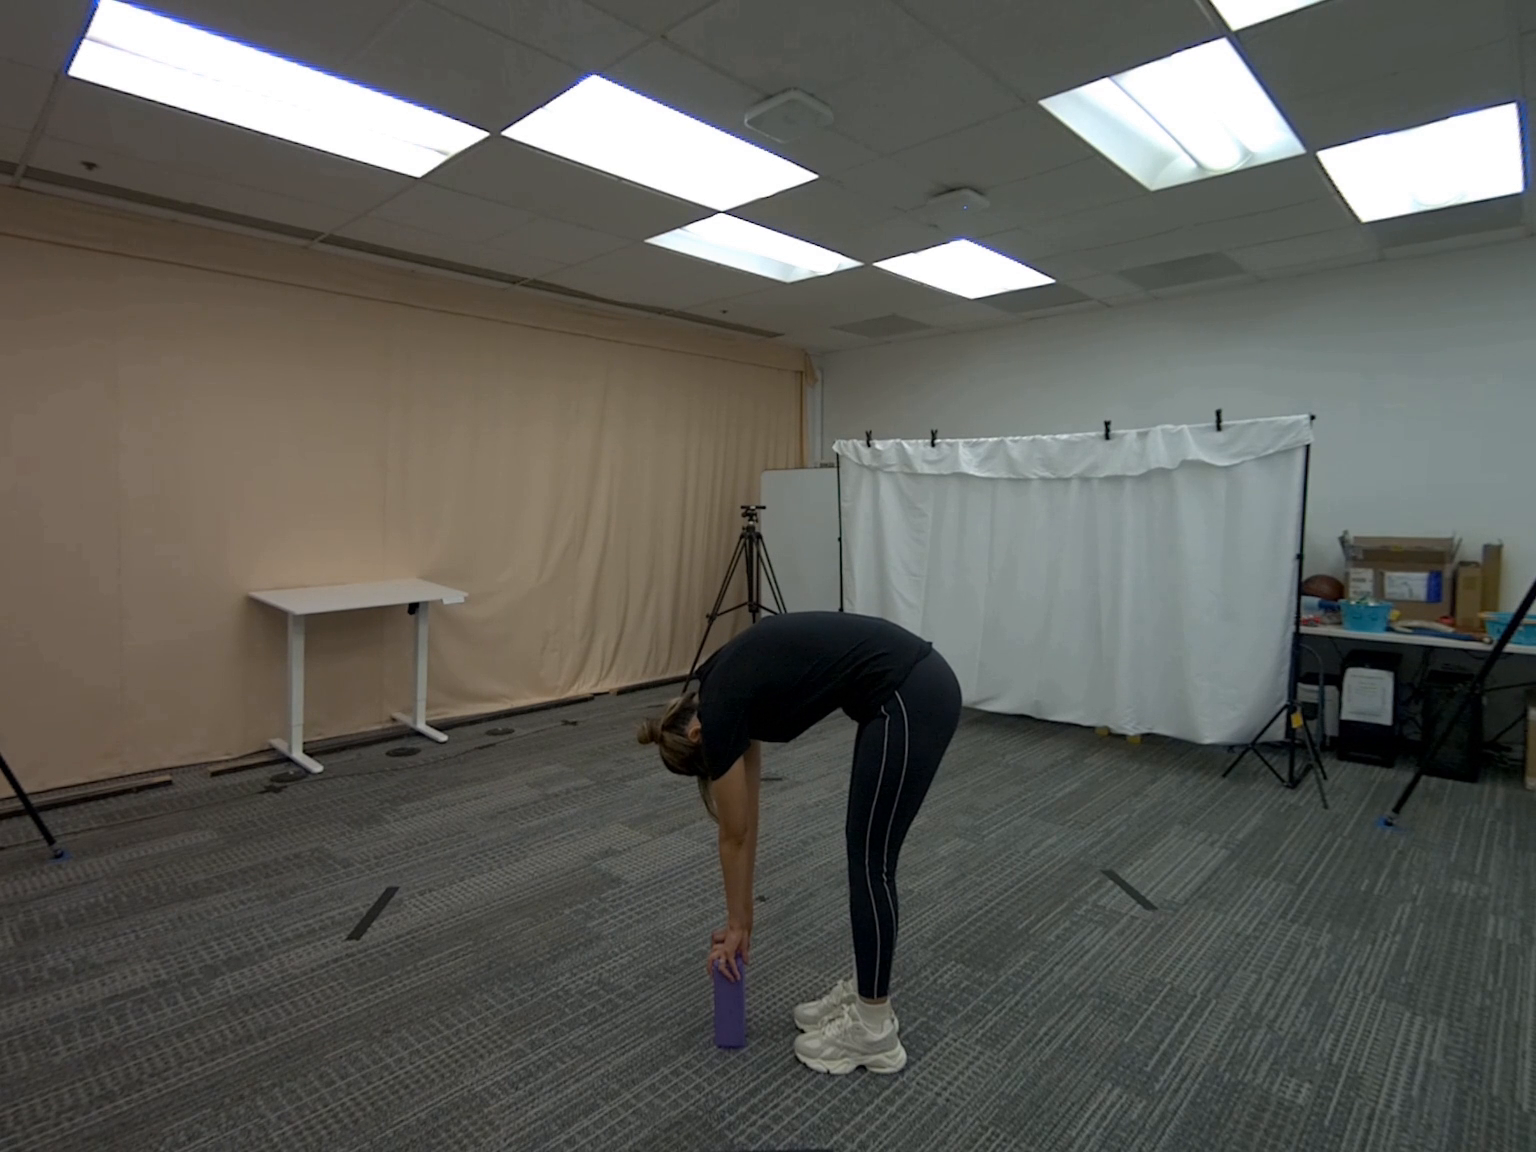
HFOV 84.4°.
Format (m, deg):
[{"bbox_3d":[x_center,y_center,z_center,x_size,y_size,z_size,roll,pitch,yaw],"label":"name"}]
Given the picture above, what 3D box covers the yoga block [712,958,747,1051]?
[{"bbox_3d":[-0.100,1.102,2.224,0.076,0.229,0.149,0,1,0],"label":"yoga block"}]
